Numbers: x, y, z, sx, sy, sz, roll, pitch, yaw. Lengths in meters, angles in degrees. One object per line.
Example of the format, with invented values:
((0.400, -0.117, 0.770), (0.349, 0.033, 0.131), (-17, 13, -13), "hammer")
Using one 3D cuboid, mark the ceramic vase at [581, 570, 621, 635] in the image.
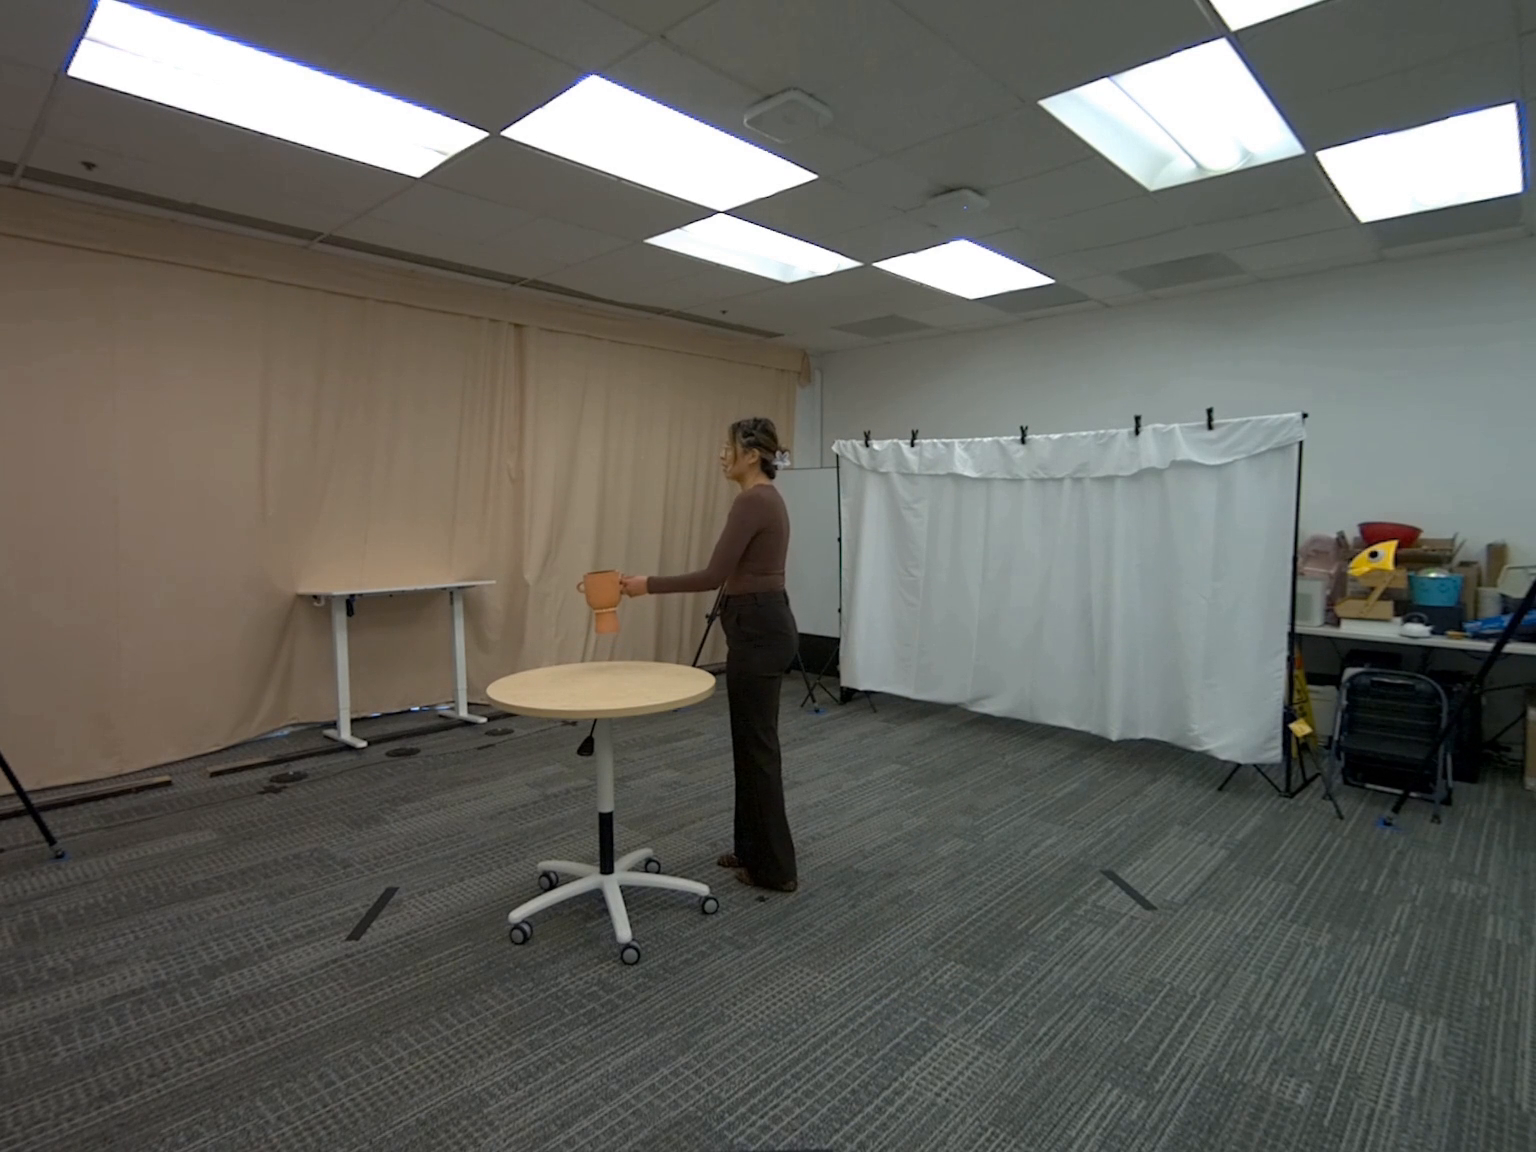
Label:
((-0.600, 0.095, 3.124), (0.164, 0.219, 0.131), (-1, 7, 43), "ceramic vase")
